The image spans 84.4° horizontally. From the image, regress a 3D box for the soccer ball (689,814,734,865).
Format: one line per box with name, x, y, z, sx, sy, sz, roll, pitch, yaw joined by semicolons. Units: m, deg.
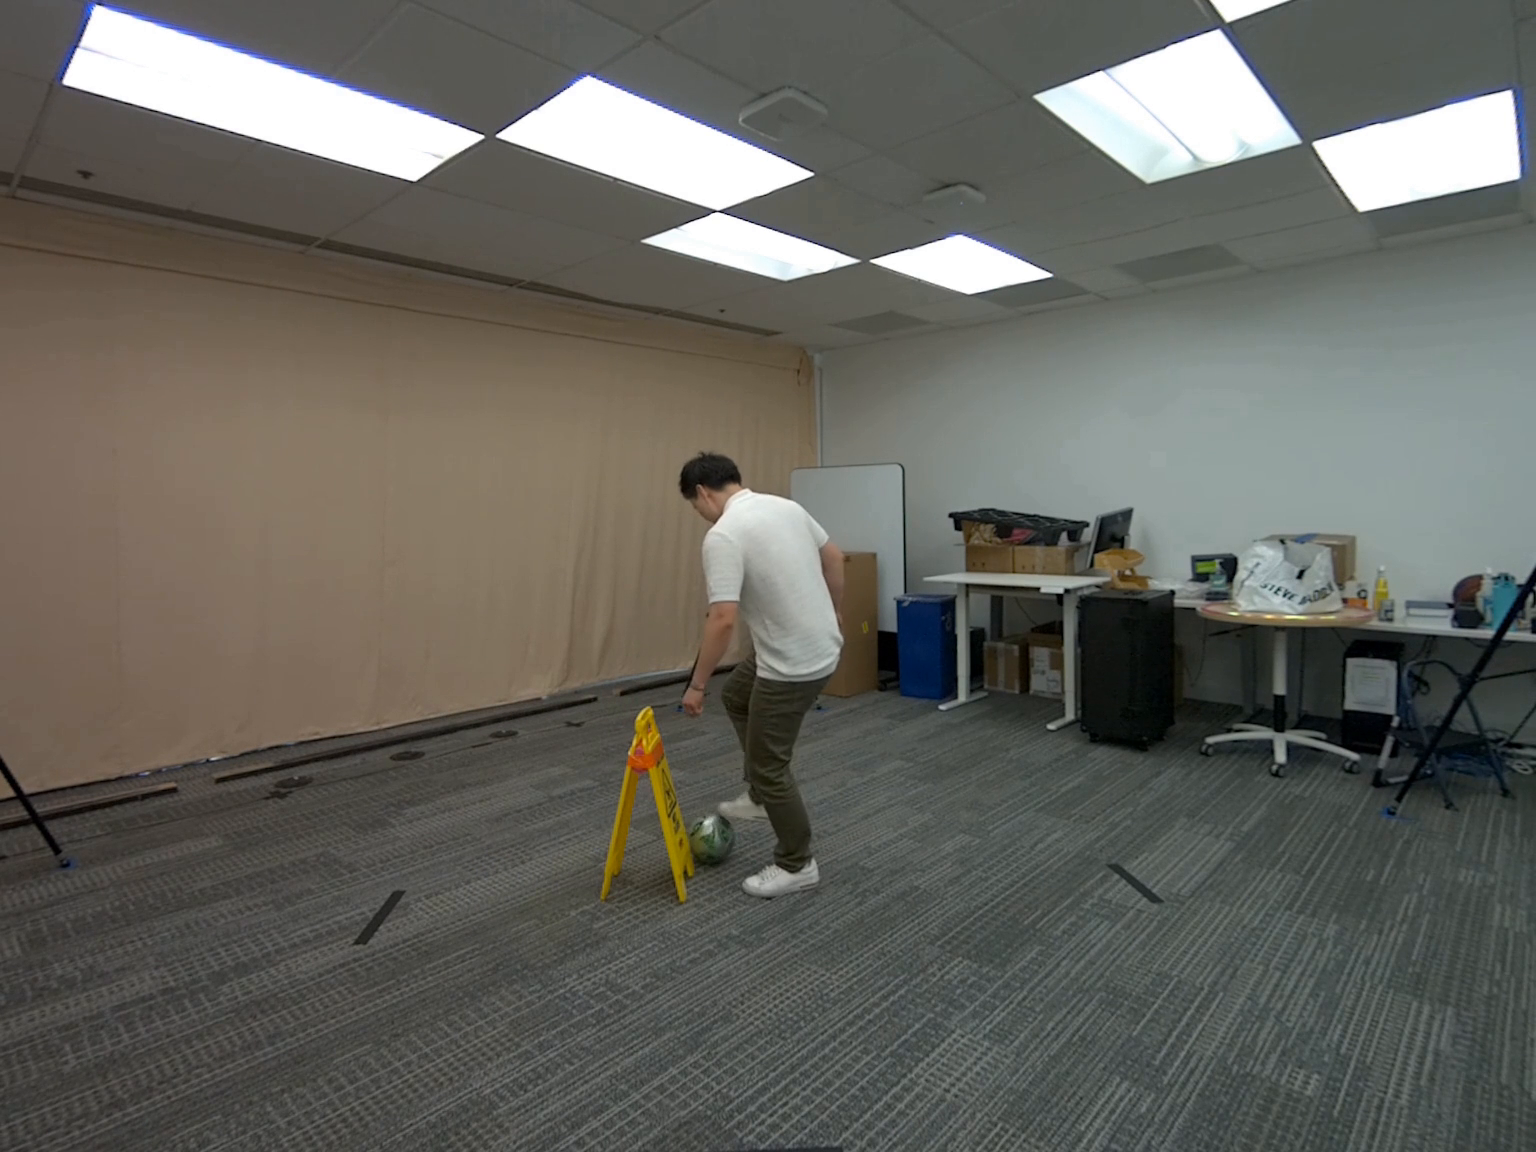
soccer ball;-0.223;1.026;3.281;0.187;0.187;0.188;-1;4;-2
